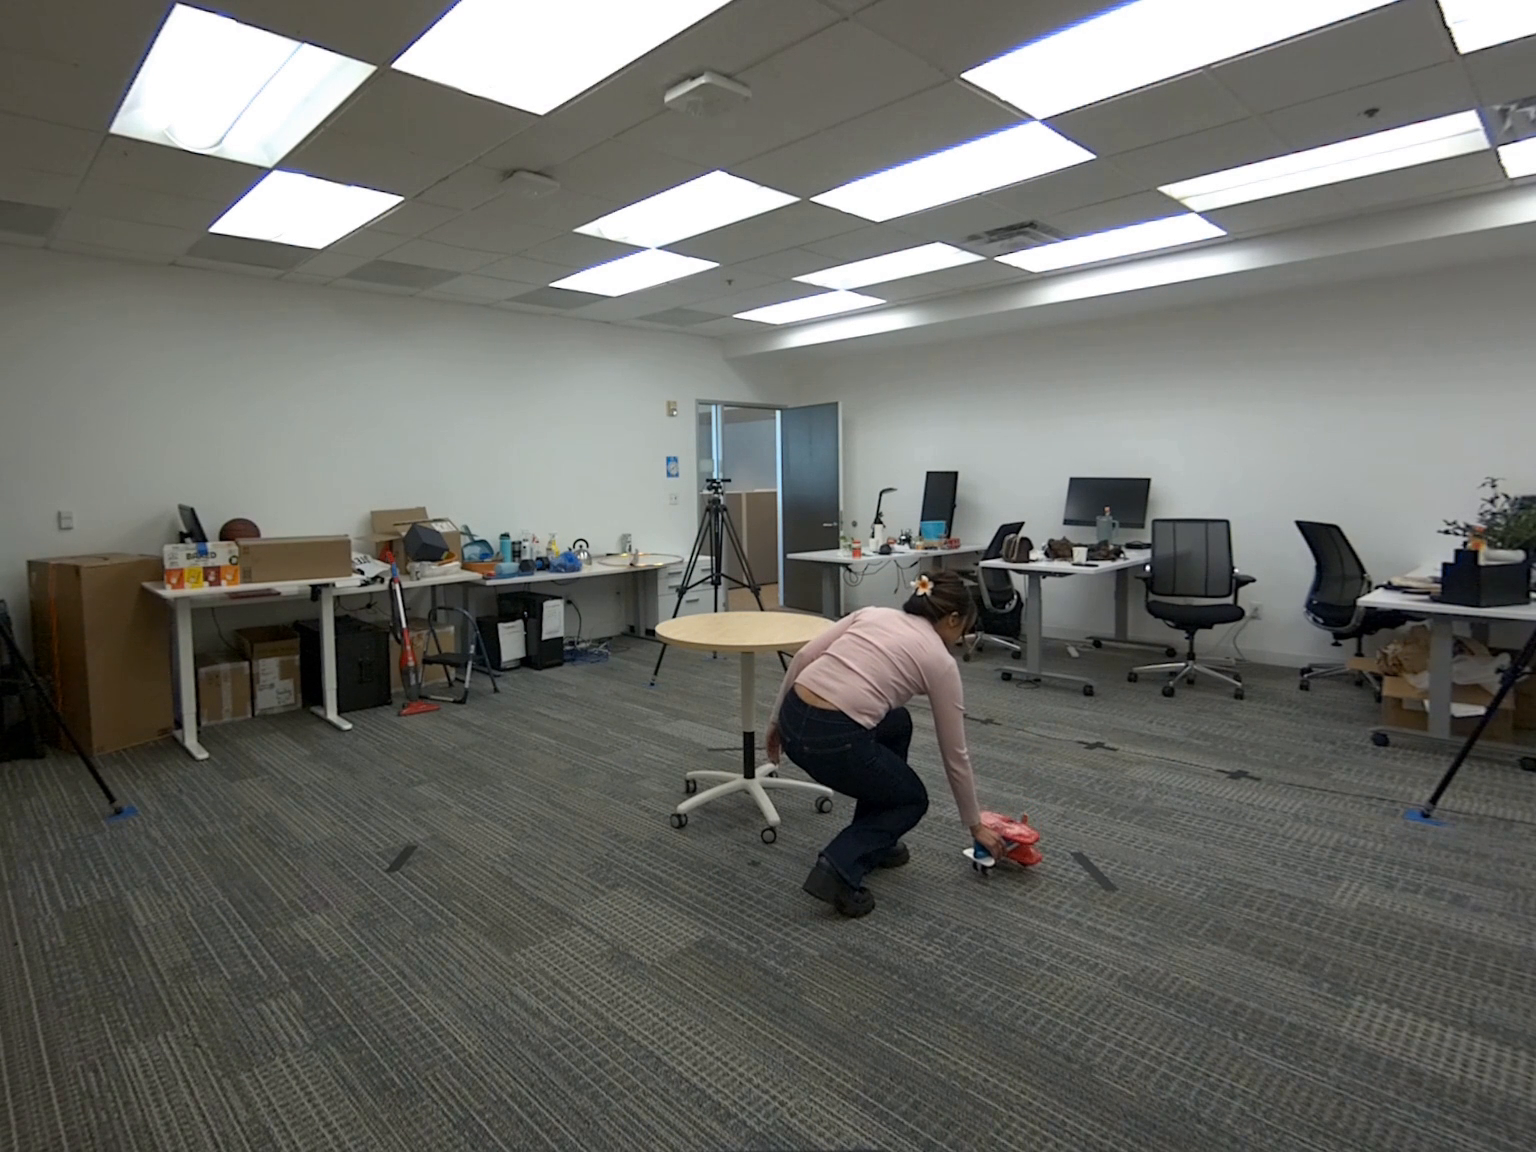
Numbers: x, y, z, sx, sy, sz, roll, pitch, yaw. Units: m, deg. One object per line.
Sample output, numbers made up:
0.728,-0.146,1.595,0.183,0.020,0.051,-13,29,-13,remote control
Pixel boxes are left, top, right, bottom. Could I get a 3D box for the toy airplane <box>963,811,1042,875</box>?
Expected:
0.828,0.953,2.996,0.258,0.156,0.253,5,6,29,toy airplane
